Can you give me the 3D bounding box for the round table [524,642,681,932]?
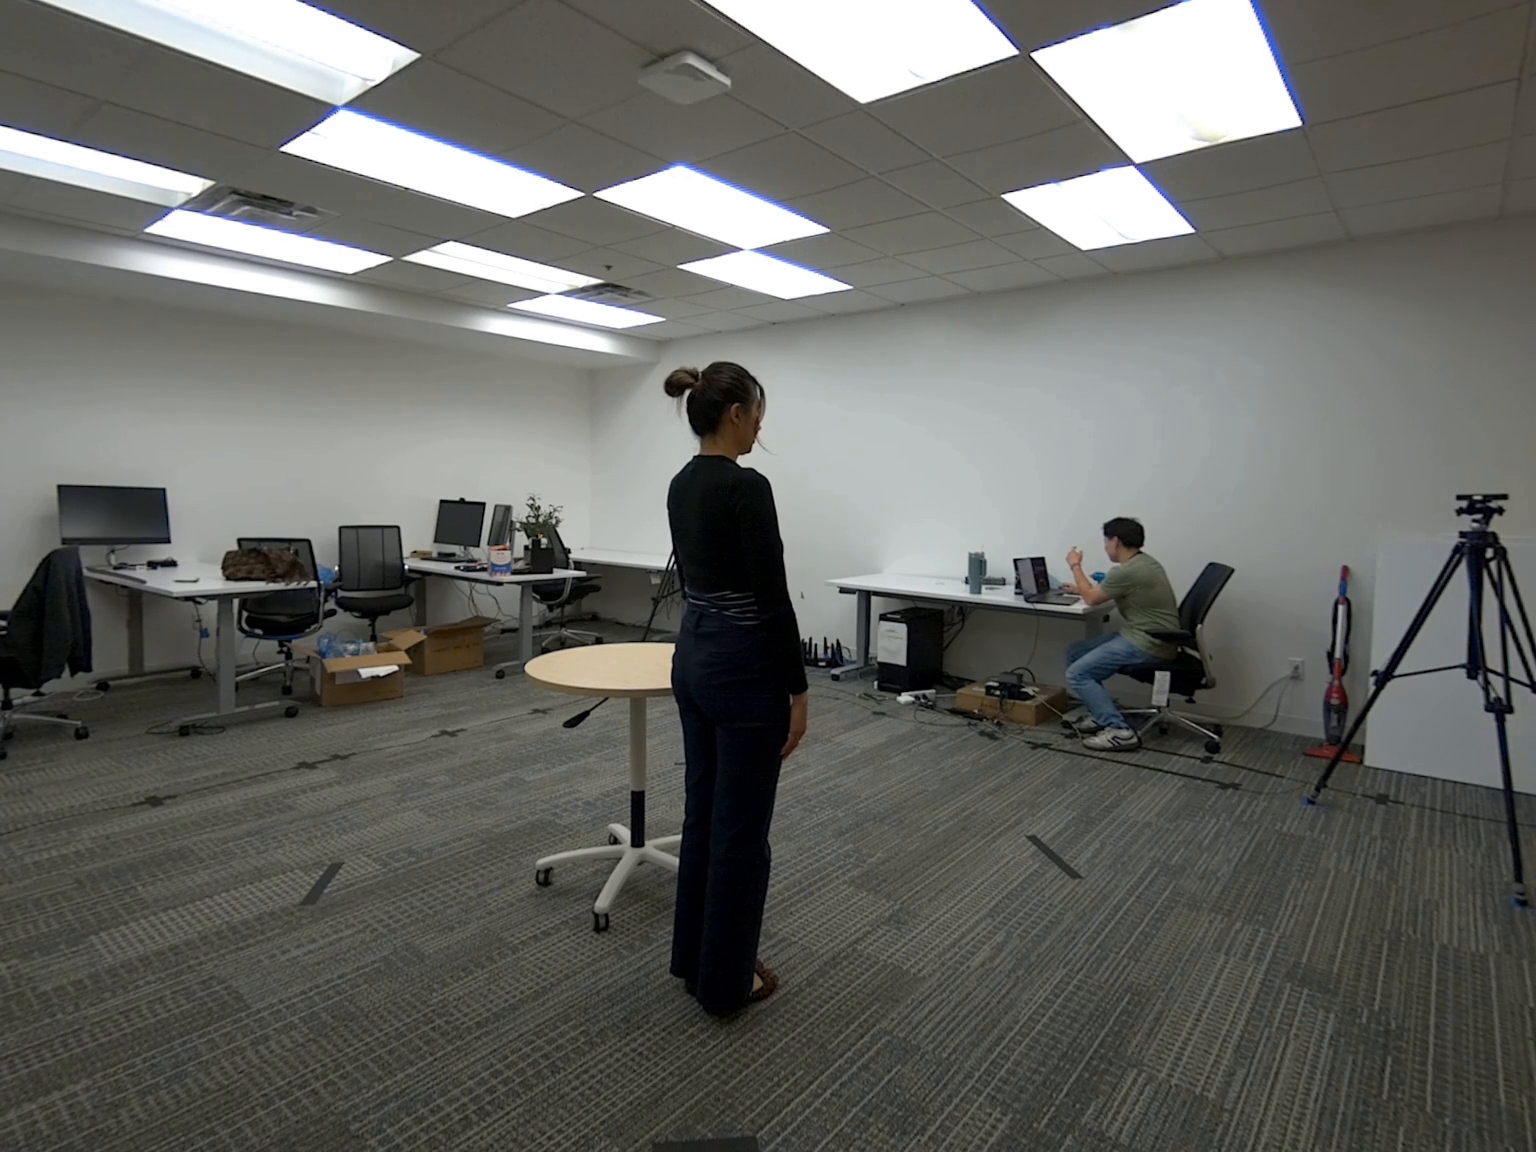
[{"bbox_3d":[-0.465,0.690,2.954,0.763,0.791,0.768,0,4,-2],"label":"round table"}]
